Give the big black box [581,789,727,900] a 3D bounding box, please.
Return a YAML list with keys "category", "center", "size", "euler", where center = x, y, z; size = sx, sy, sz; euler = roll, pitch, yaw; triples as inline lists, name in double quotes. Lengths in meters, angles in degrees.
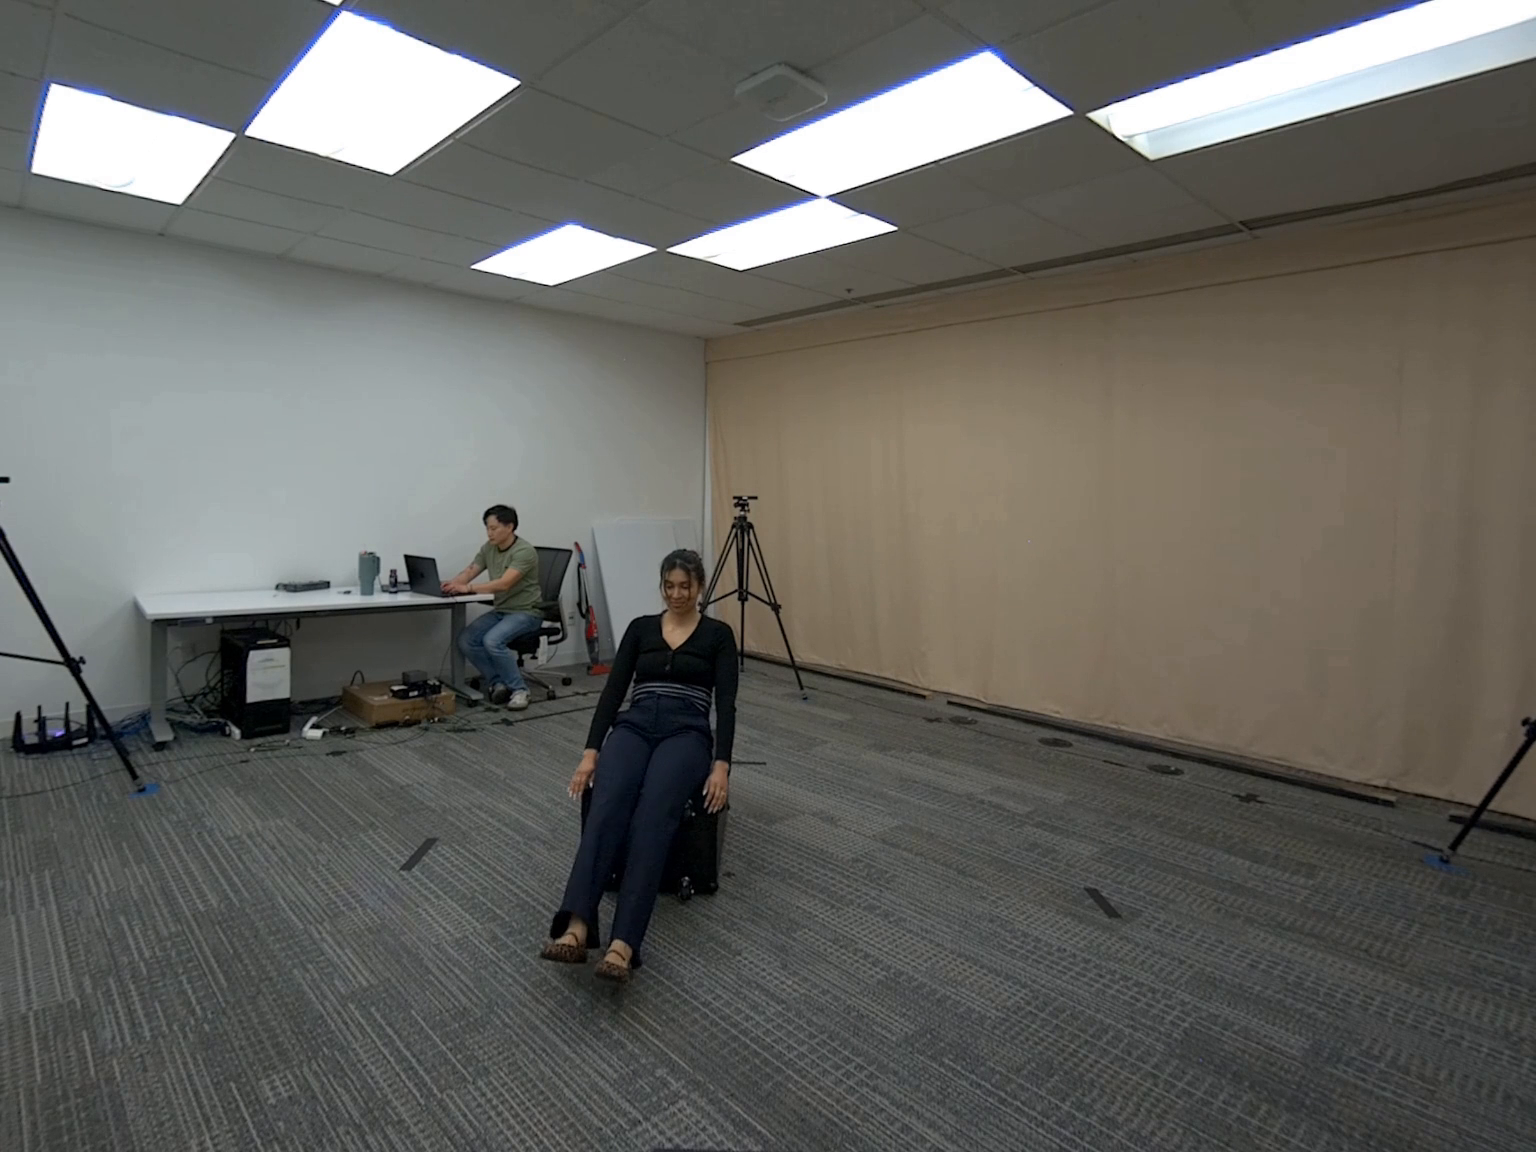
- category: "big black box"
  center: [-0.418, 0.892, 3.278]
  size: [0.522, 0.395, 0.863]
  euler: [2, 4, 1]
